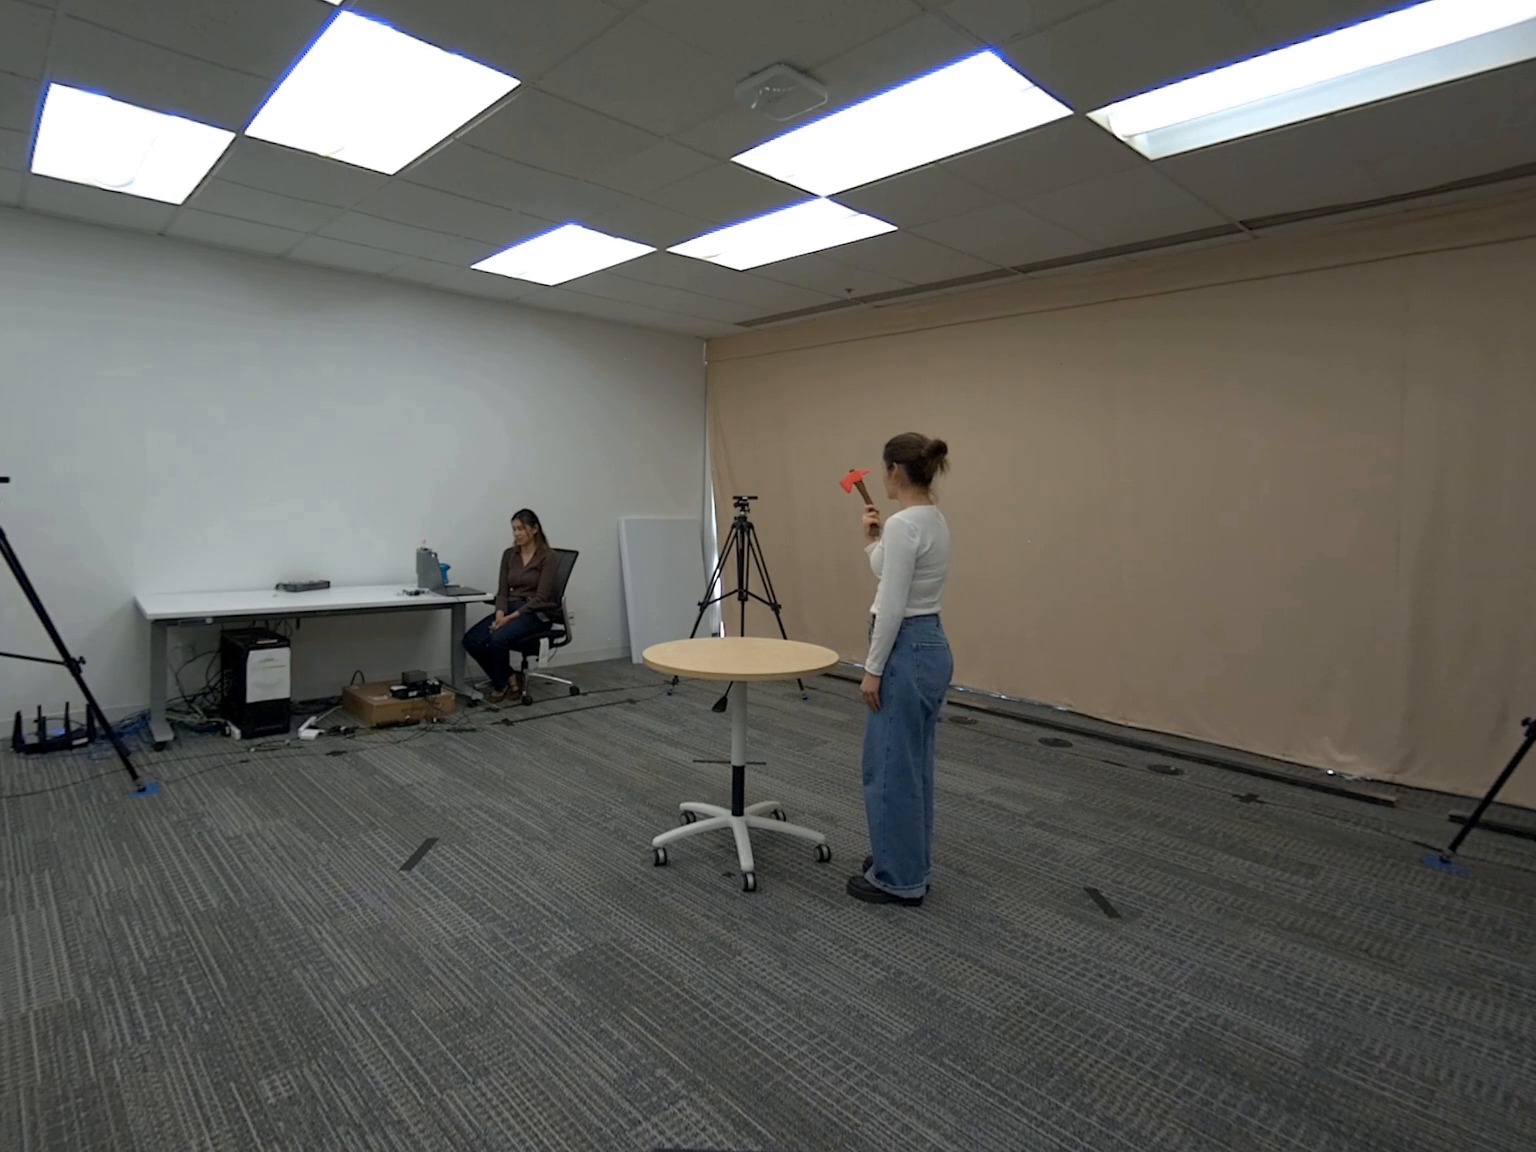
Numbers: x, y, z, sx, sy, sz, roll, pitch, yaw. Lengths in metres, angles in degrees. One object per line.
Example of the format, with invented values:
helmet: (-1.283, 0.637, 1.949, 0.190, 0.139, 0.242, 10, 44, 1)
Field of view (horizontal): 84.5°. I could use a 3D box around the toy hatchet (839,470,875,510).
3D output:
toy hatchet: (0.342, -0.277, 3.186, 0.130, 0.273, 0.029, -4, -12, -9)
